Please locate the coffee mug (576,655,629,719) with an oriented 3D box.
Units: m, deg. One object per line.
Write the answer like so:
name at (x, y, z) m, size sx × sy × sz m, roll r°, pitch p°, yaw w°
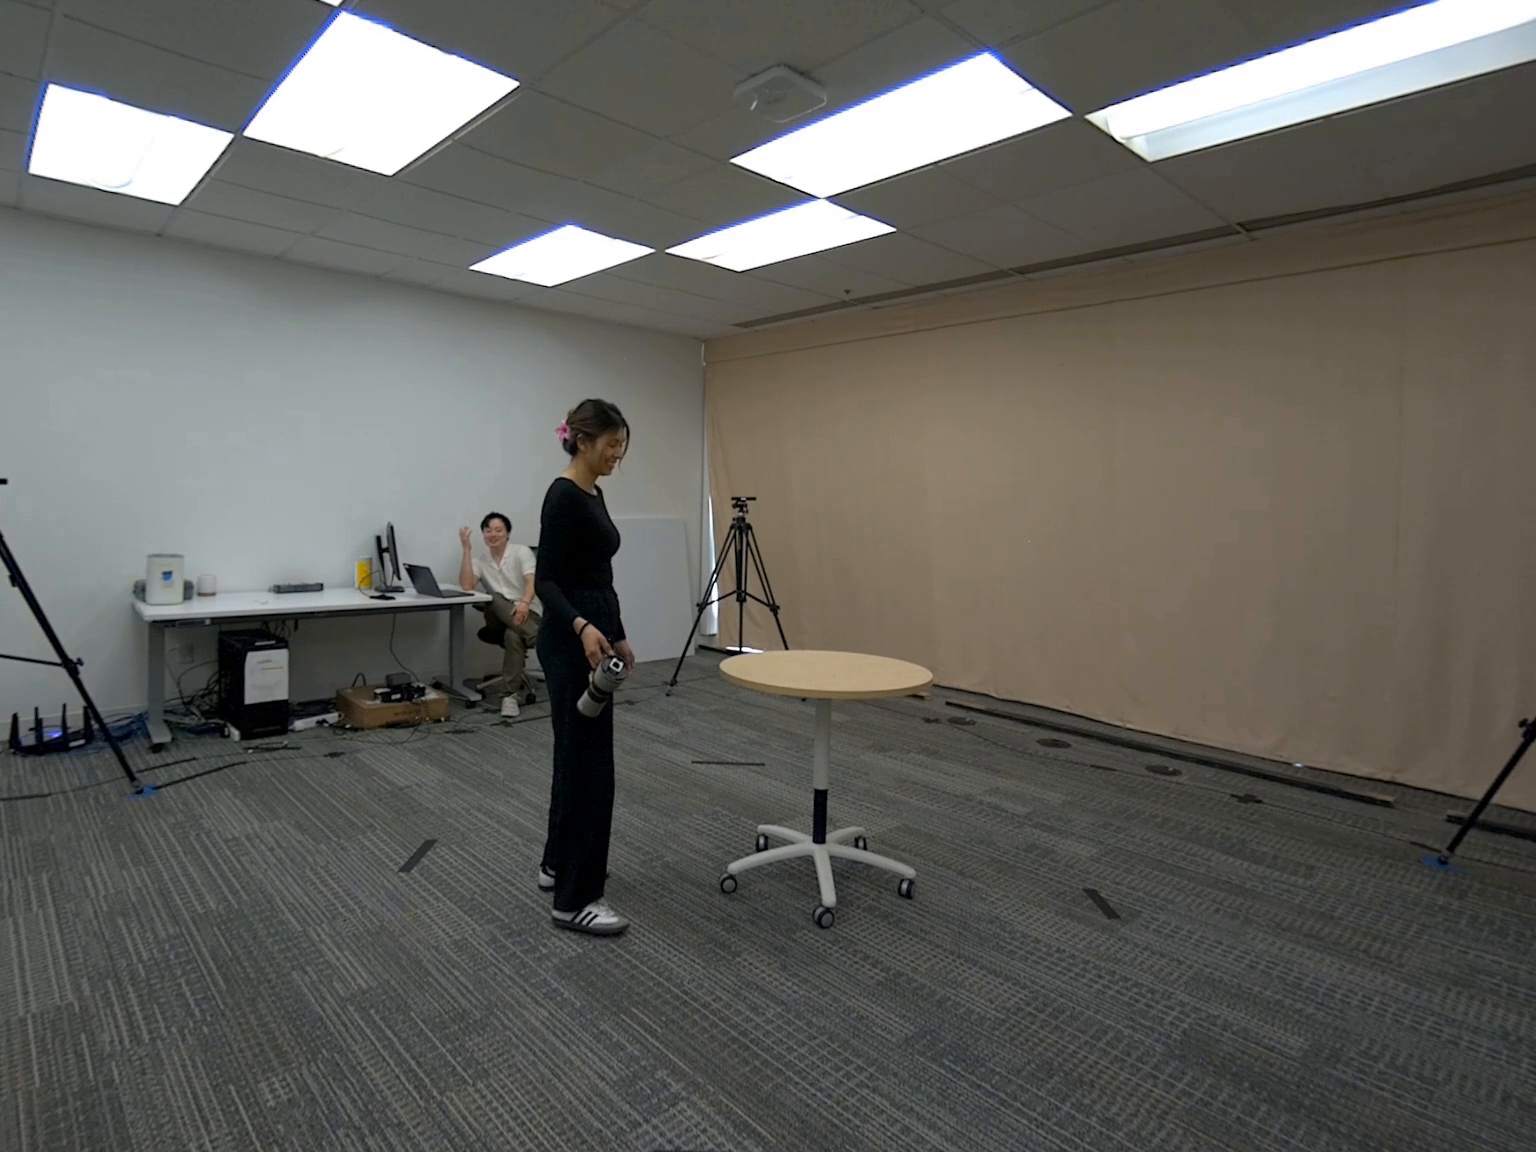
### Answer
coffee mug at (-0.495, 0.323, 2.488) m, size 0.086 × 0.202 × 0.125 m, roll 16°, pitch 36°, yaw -26°
